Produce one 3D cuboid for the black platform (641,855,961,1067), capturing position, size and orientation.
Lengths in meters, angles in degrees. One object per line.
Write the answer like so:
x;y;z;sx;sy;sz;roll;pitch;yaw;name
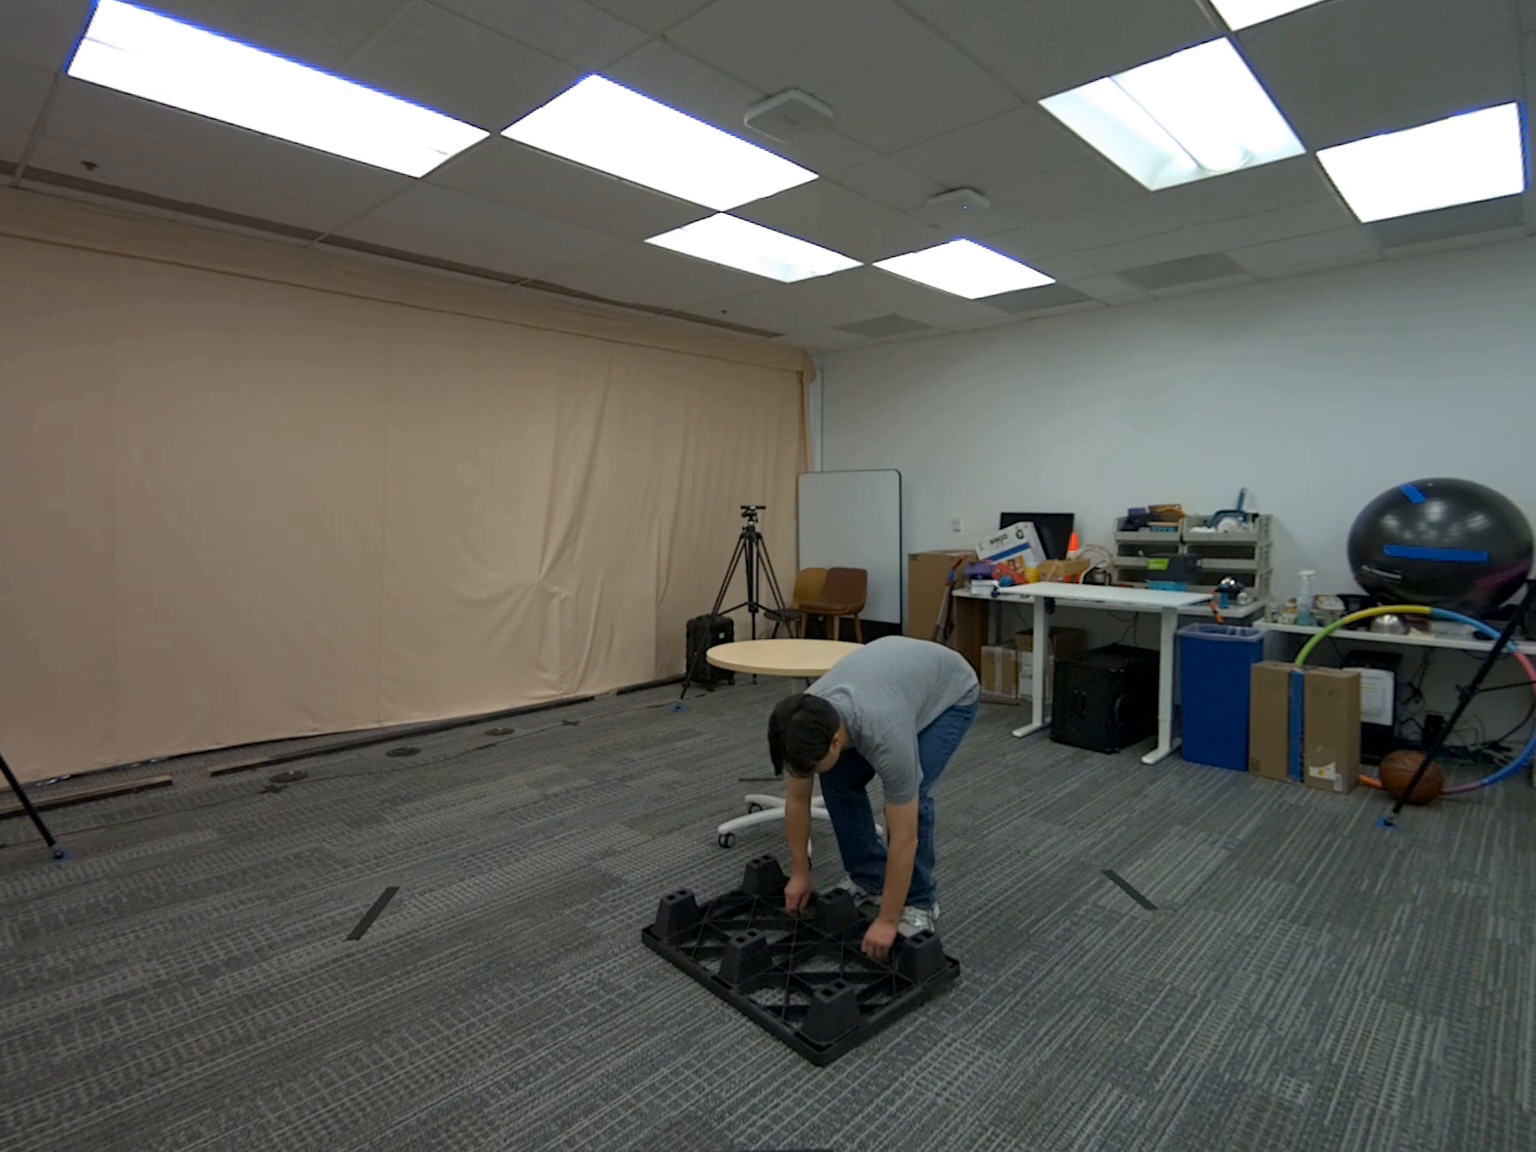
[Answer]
0.083;1.100;2.563;0.588;0.143;0.833;-8;9;-40;black platform
